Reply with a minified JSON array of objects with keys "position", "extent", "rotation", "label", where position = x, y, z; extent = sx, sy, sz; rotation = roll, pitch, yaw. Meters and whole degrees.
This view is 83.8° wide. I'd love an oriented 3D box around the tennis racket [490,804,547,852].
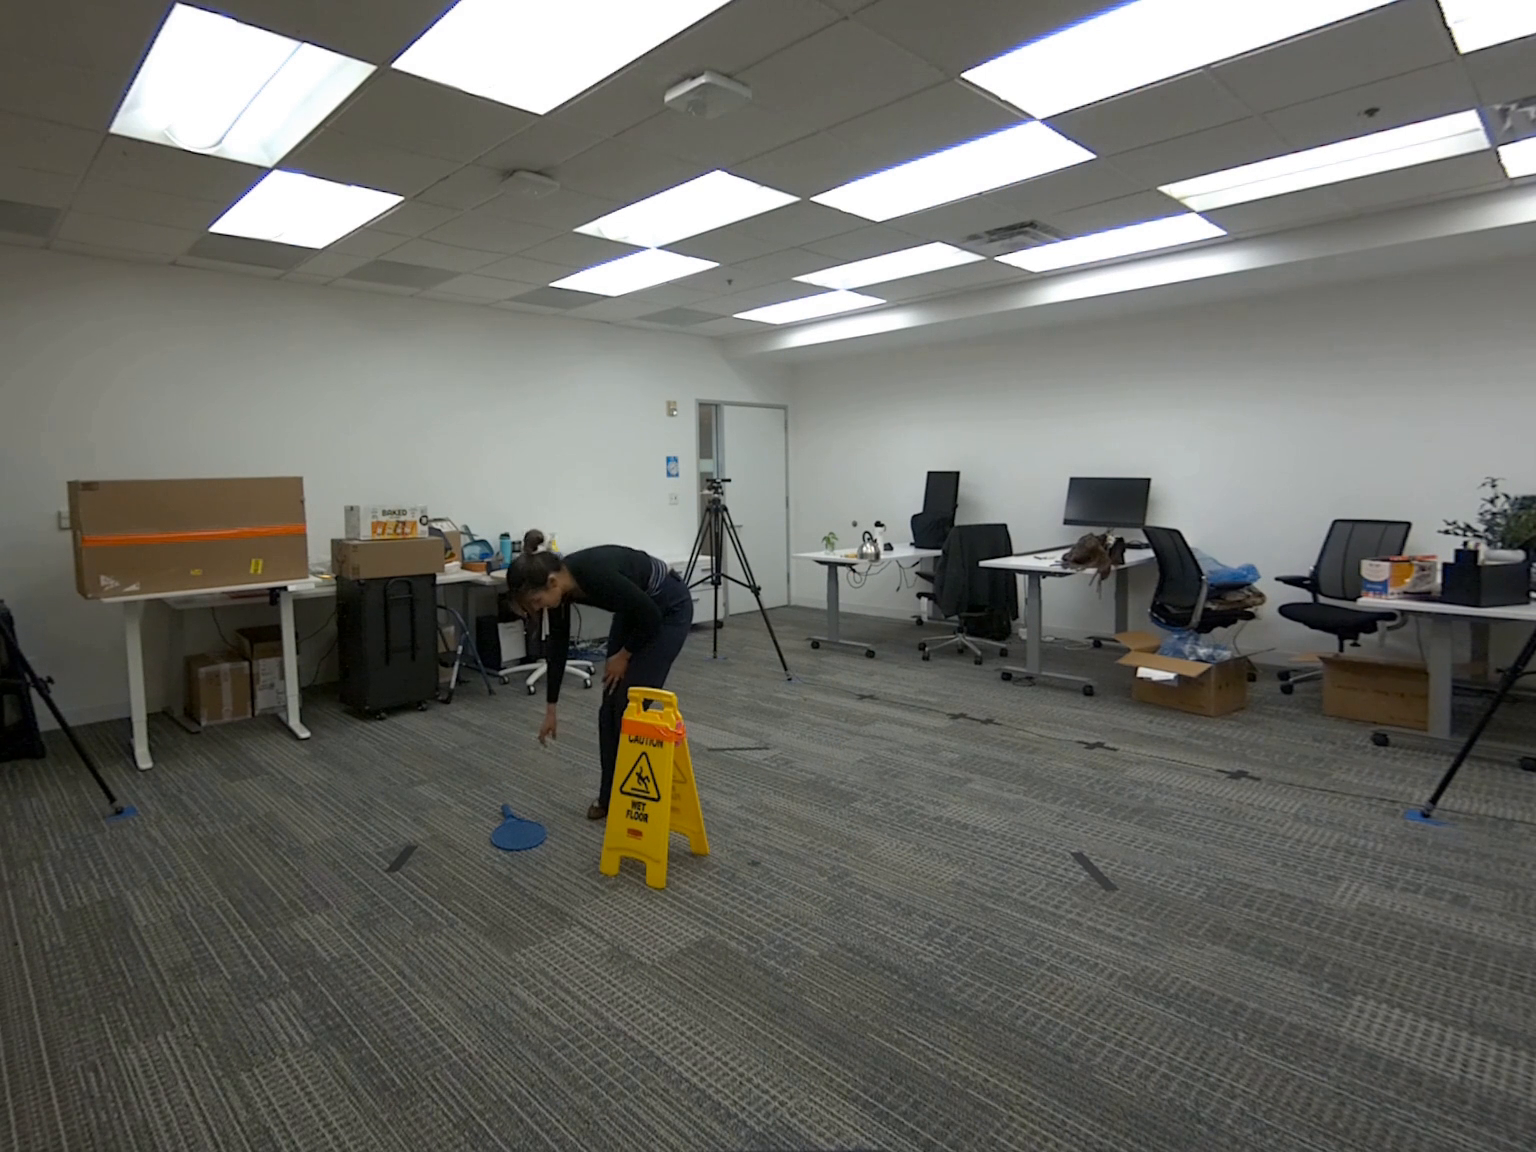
[{"position":[-1.012,1.009,3.447],"extent":[0.209,0.031,0.444],"rotation":[-4,8,-24],"label":"tennis racket"}]
